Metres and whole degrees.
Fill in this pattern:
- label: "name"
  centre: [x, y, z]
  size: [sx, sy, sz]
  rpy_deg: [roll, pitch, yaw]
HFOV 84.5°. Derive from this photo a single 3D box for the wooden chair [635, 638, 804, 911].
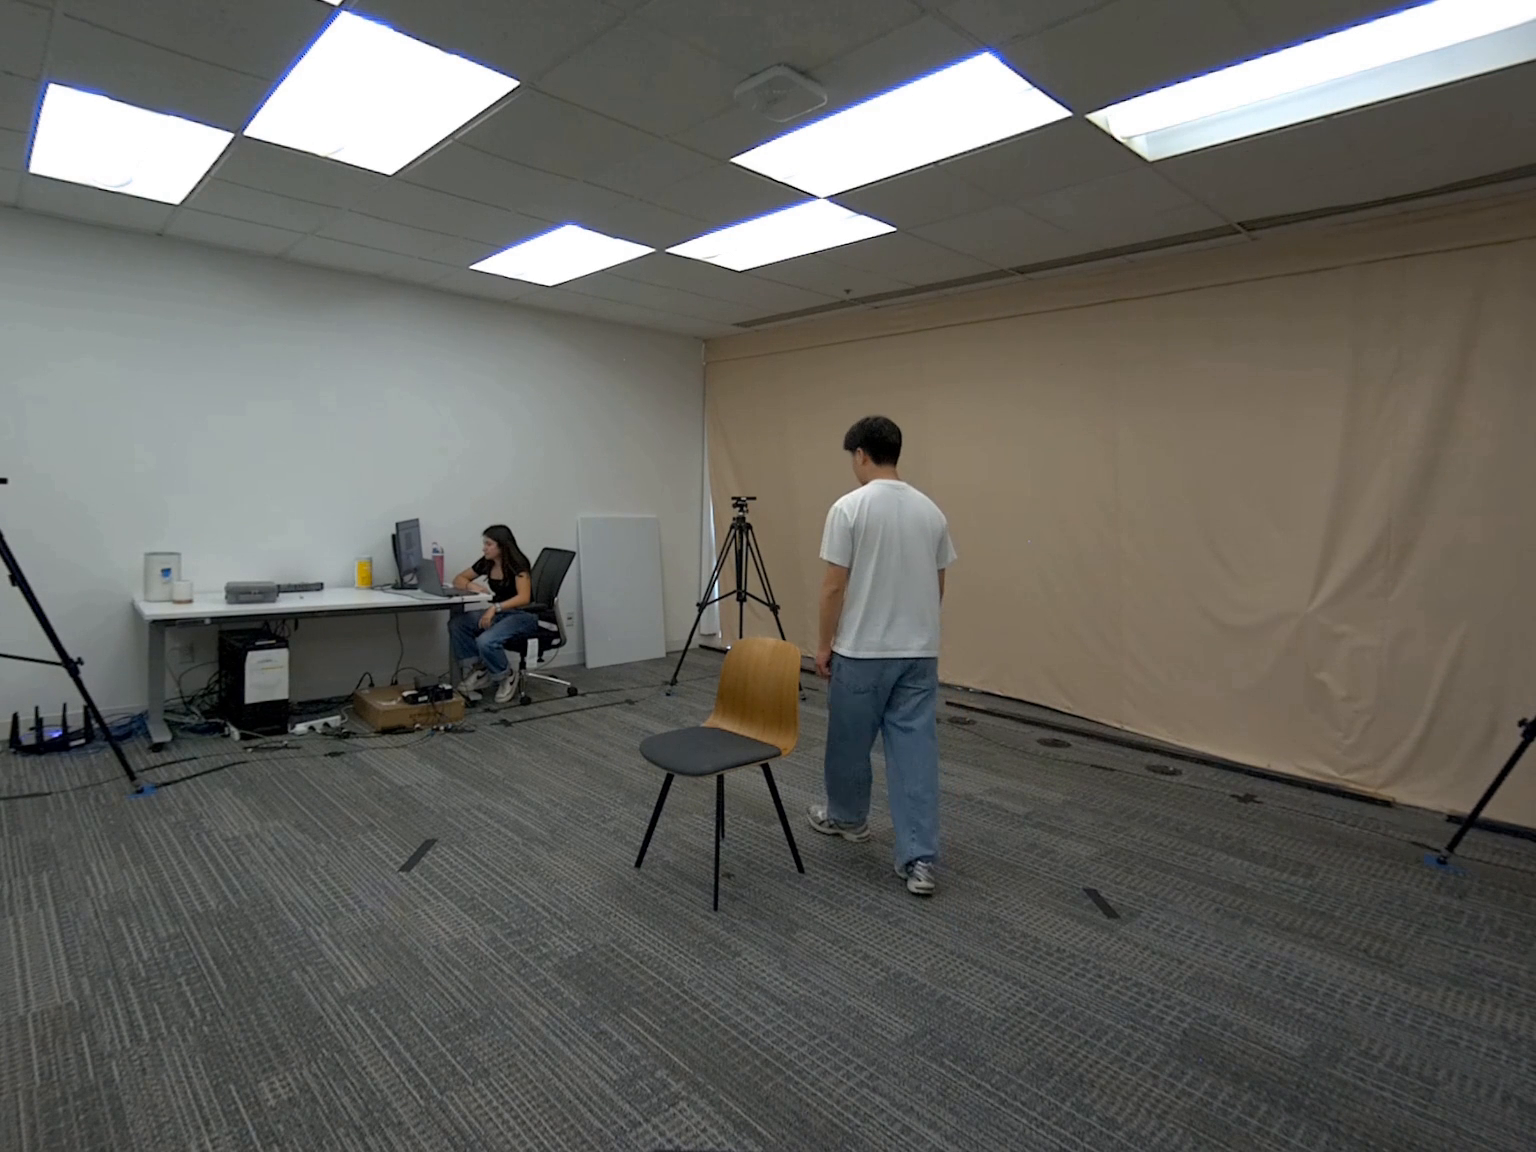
- label: "wooden chair"
  centre: [-0.182, 0.678, 3.107]
  size: [0.510, 0.877, 0.490]
  rpy_deg: [4, 0, -45]
